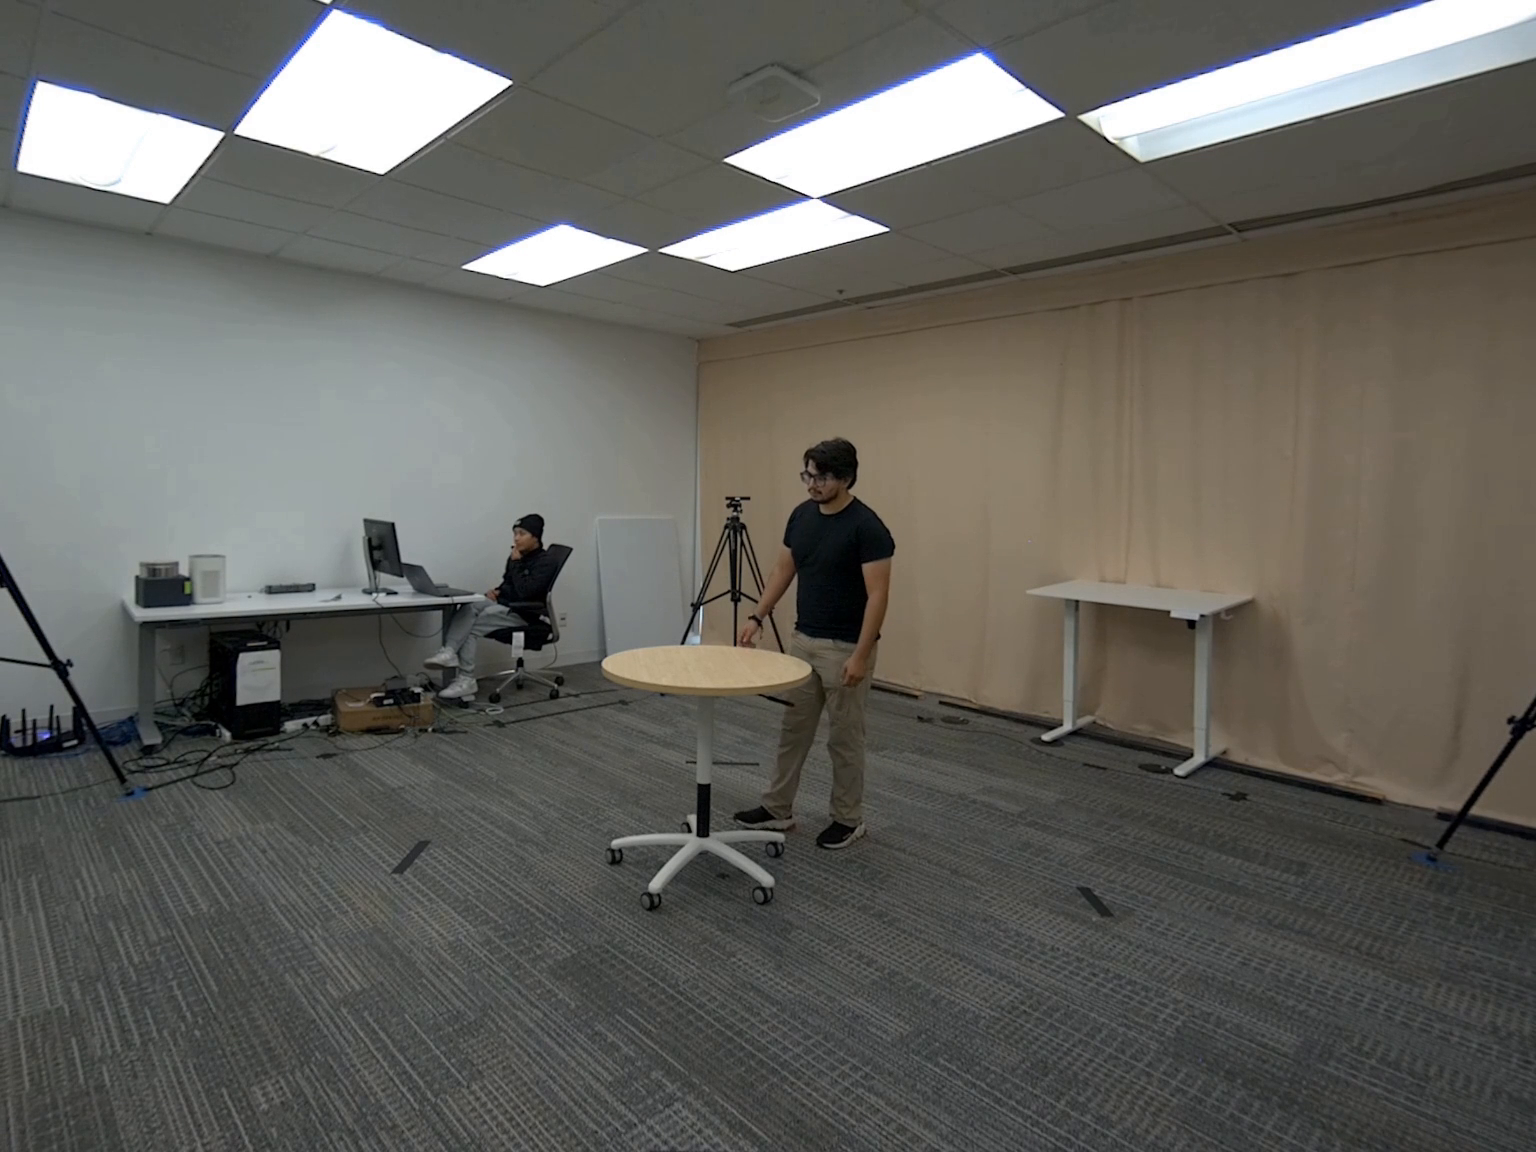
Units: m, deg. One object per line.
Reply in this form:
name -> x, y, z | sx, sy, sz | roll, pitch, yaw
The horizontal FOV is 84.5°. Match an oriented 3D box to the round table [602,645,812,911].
round table -> -0.237, 0.712, 3.090 | 0.784, 0.784, 0.788 | 1, 4, -1
